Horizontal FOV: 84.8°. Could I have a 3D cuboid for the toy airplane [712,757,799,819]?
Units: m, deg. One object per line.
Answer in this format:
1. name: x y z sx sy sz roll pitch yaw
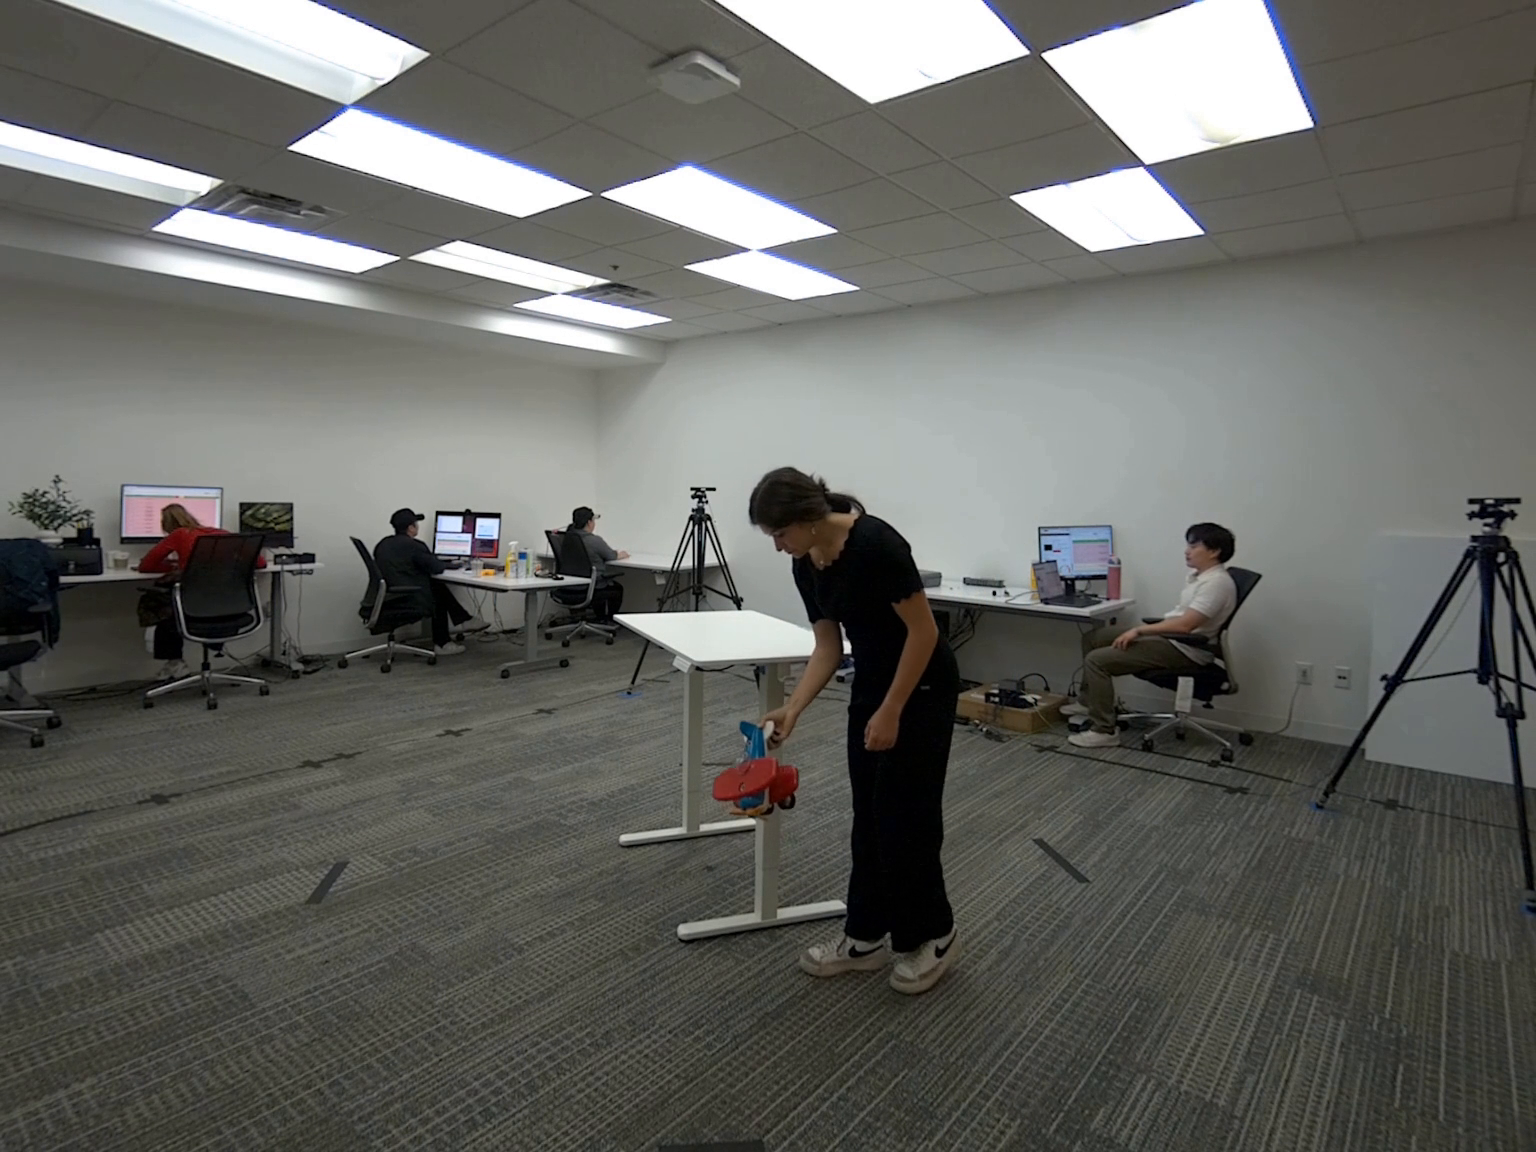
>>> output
1. toy airplane: -0.046 0.544 2.372 0.150 0.250 0.270 16 28 -41
